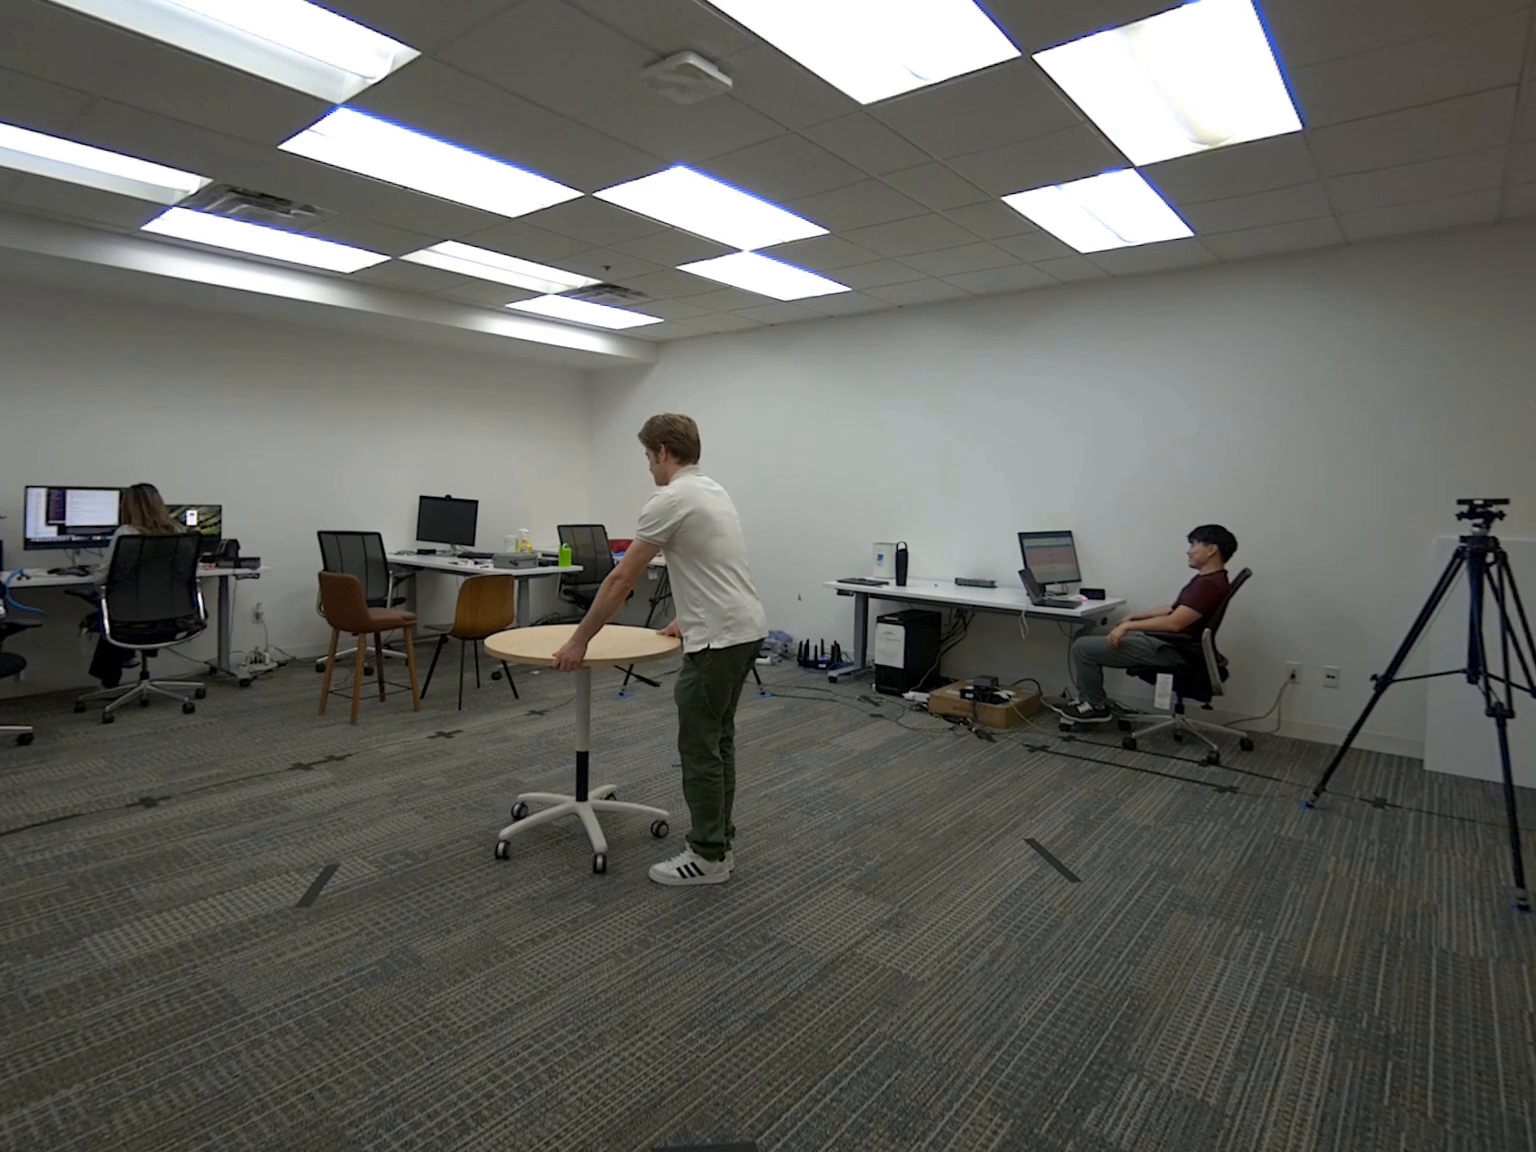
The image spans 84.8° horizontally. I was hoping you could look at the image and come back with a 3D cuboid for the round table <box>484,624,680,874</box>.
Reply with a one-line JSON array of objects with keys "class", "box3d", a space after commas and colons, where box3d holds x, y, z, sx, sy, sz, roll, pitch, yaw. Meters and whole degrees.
[{"class": "round table", "box3d": [-0.745, 0.646, 3.385, 0.763, 0.792, 0.767, 1, 4, -2]}]
